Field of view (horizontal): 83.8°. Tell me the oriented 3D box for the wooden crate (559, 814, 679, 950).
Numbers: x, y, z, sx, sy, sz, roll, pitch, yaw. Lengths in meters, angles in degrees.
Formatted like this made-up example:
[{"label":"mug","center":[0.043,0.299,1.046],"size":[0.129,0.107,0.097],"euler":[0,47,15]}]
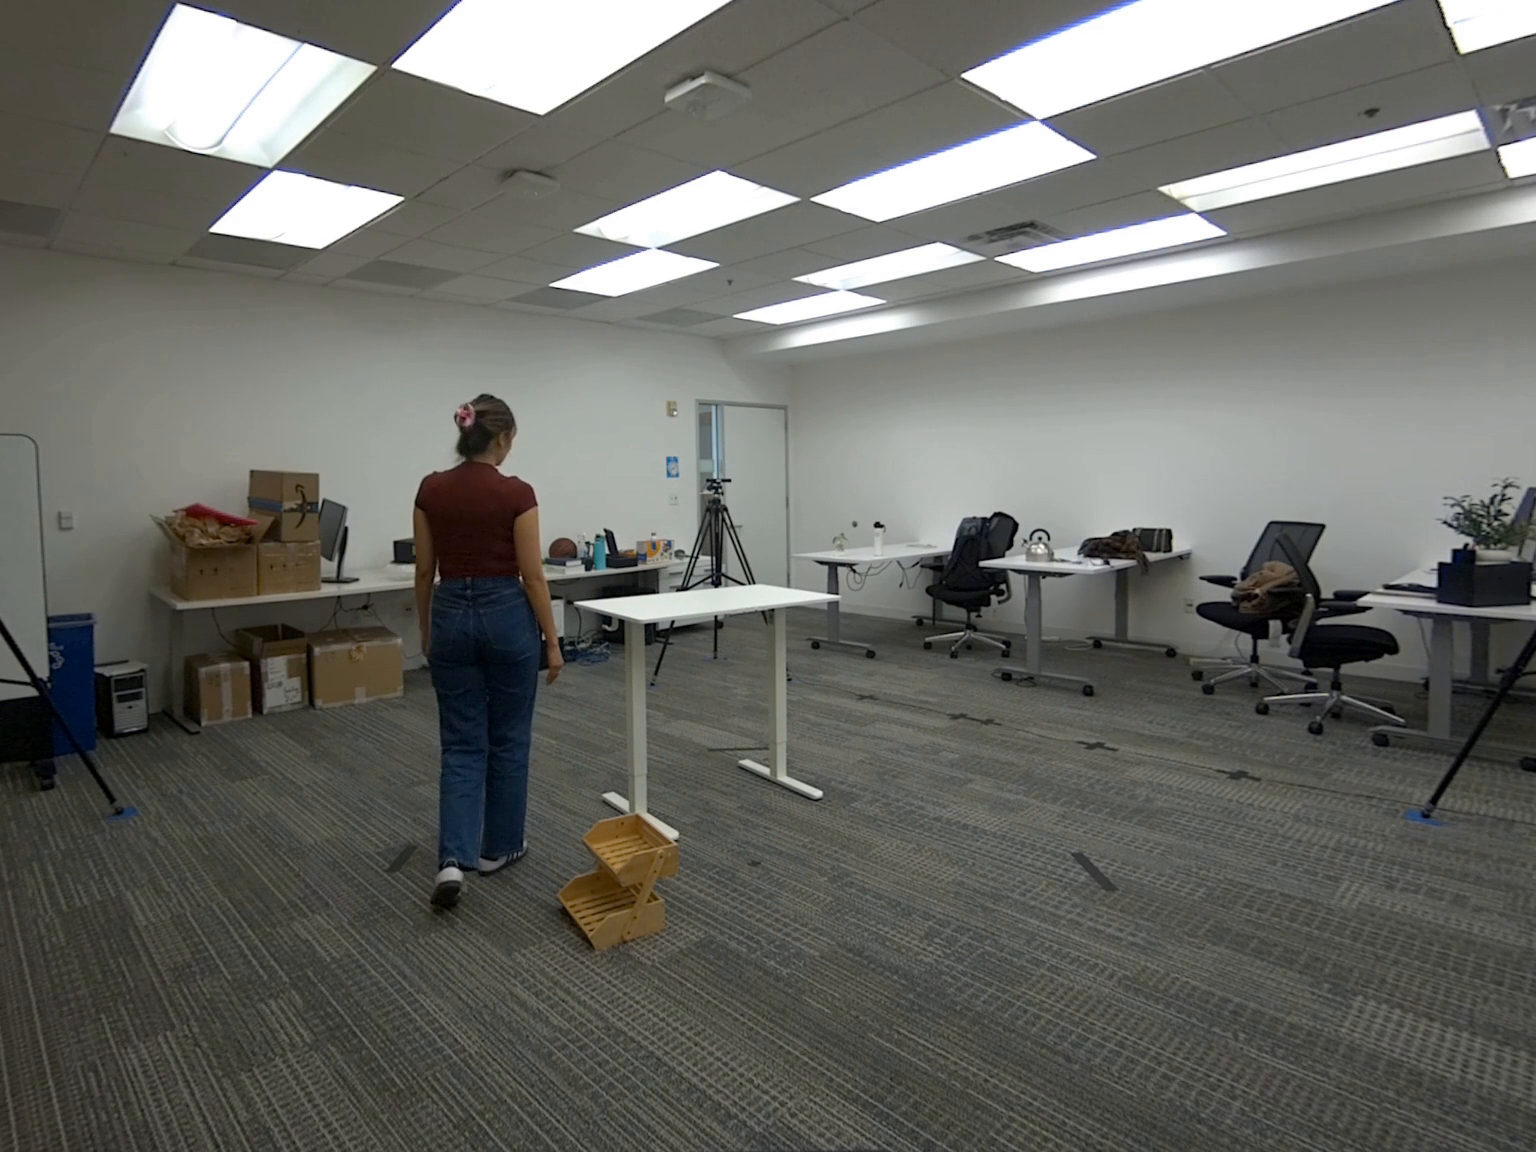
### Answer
[{"label":"wooden crate","center":[-0.485,0.963,2.732],"size":[0.295,0.272,0.334],"euler":[-4,6,-31]}]
